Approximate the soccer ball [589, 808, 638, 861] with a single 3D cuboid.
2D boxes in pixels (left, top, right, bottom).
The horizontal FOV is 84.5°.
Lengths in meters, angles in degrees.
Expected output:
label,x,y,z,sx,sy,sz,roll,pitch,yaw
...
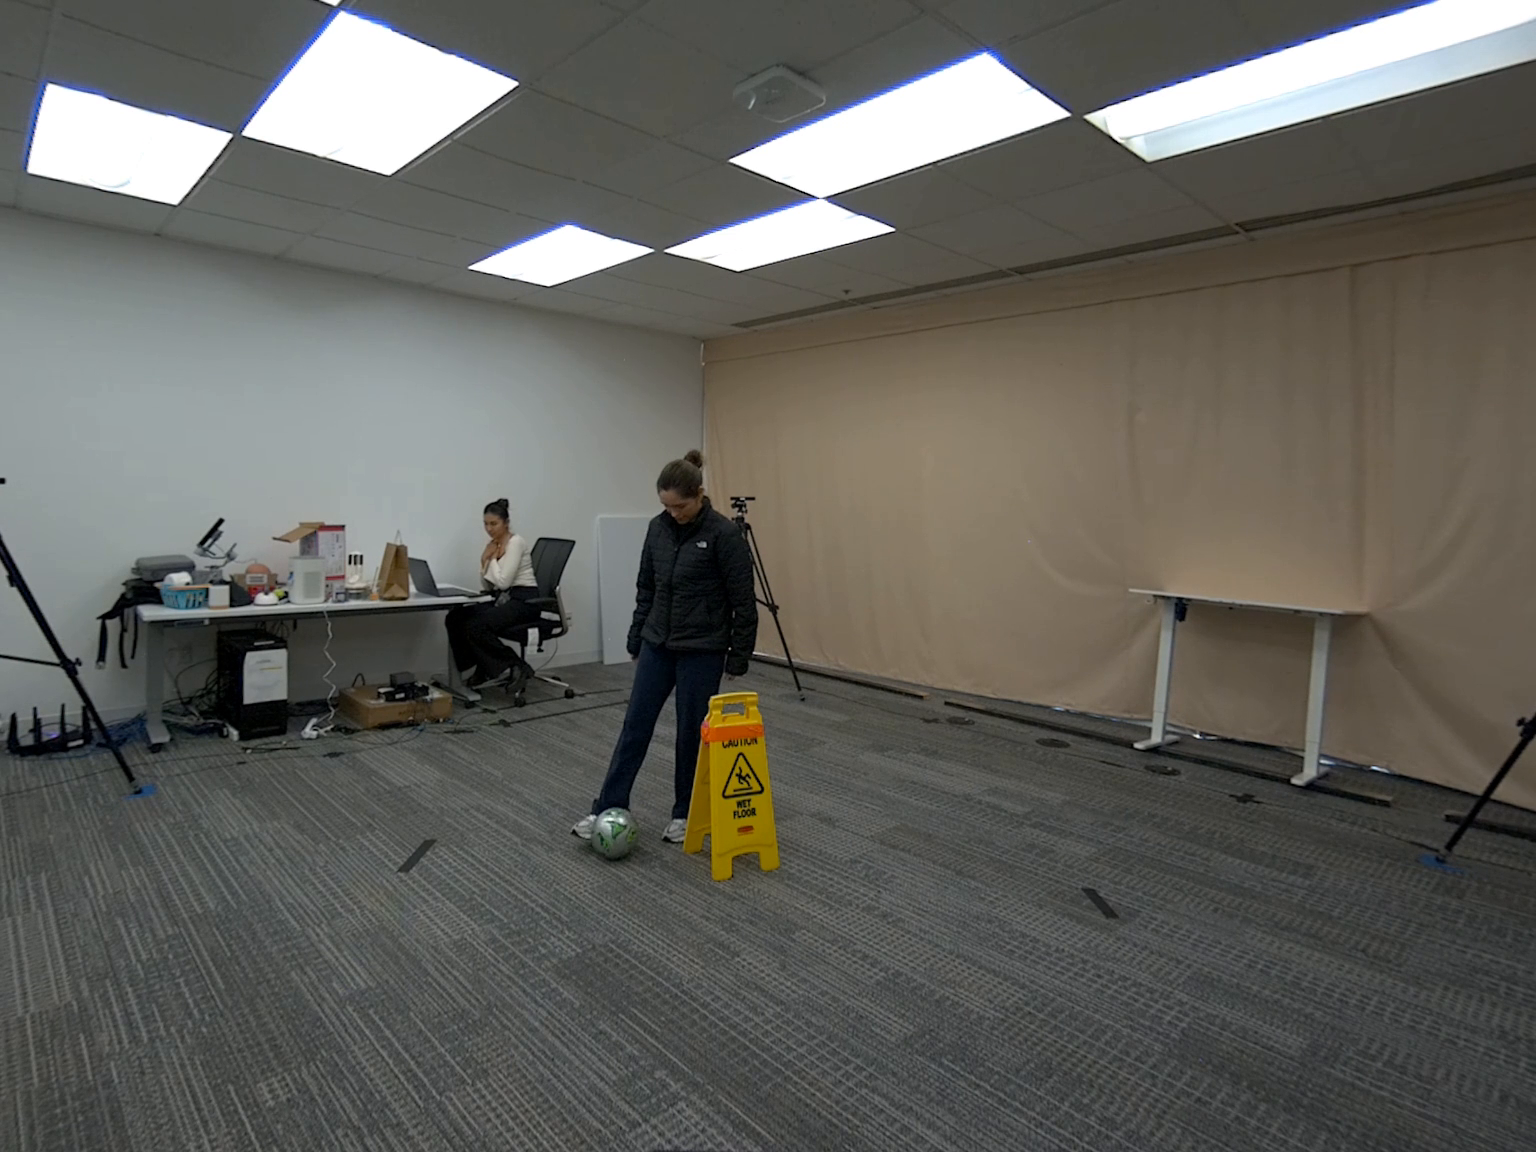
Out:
label,x,y,z,sx,sy,sz,roll,pitch,yaw
soccer ball,-0.582,0.986,3.235,0.187,0.187,0.188,1,4,-1
